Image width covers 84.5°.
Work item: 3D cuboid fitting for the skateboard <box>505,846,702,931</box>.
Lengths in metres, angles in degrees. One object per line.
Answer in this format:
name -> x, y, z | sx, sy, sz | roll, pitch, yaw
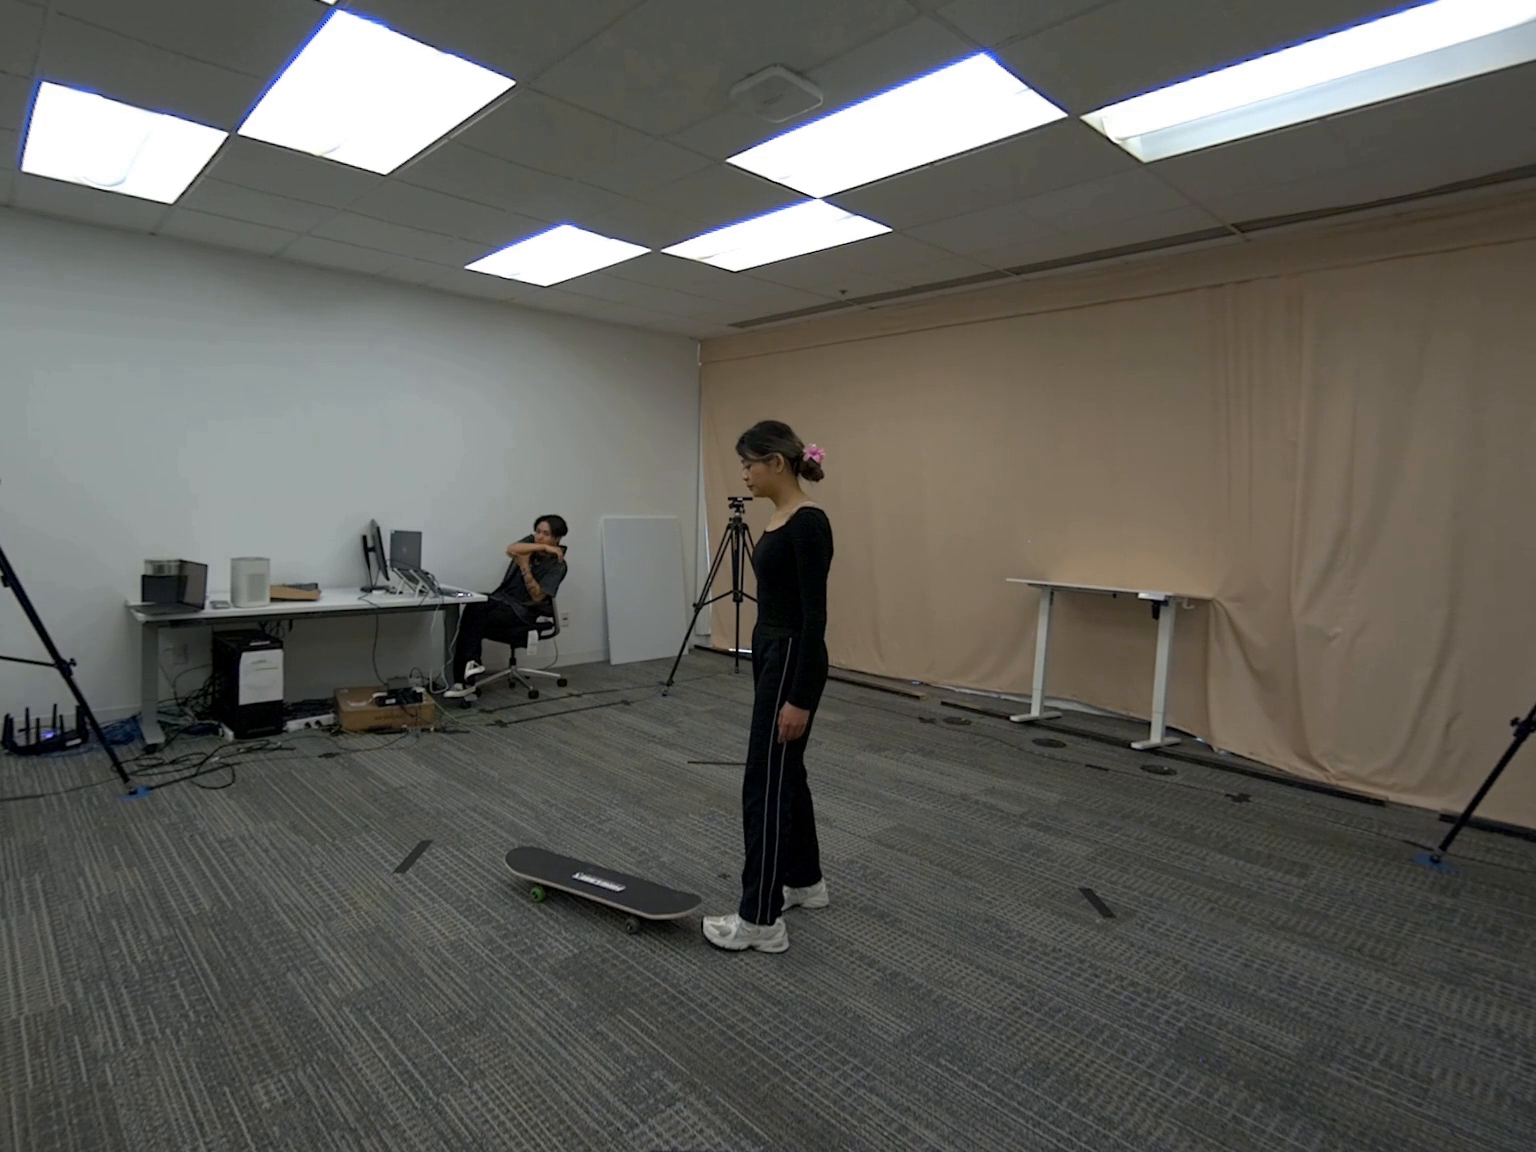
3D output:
skateboard -> -0.582, 1.068, 2.842 | 0.802, 0.110, 0.190 | 5, 6, 28
